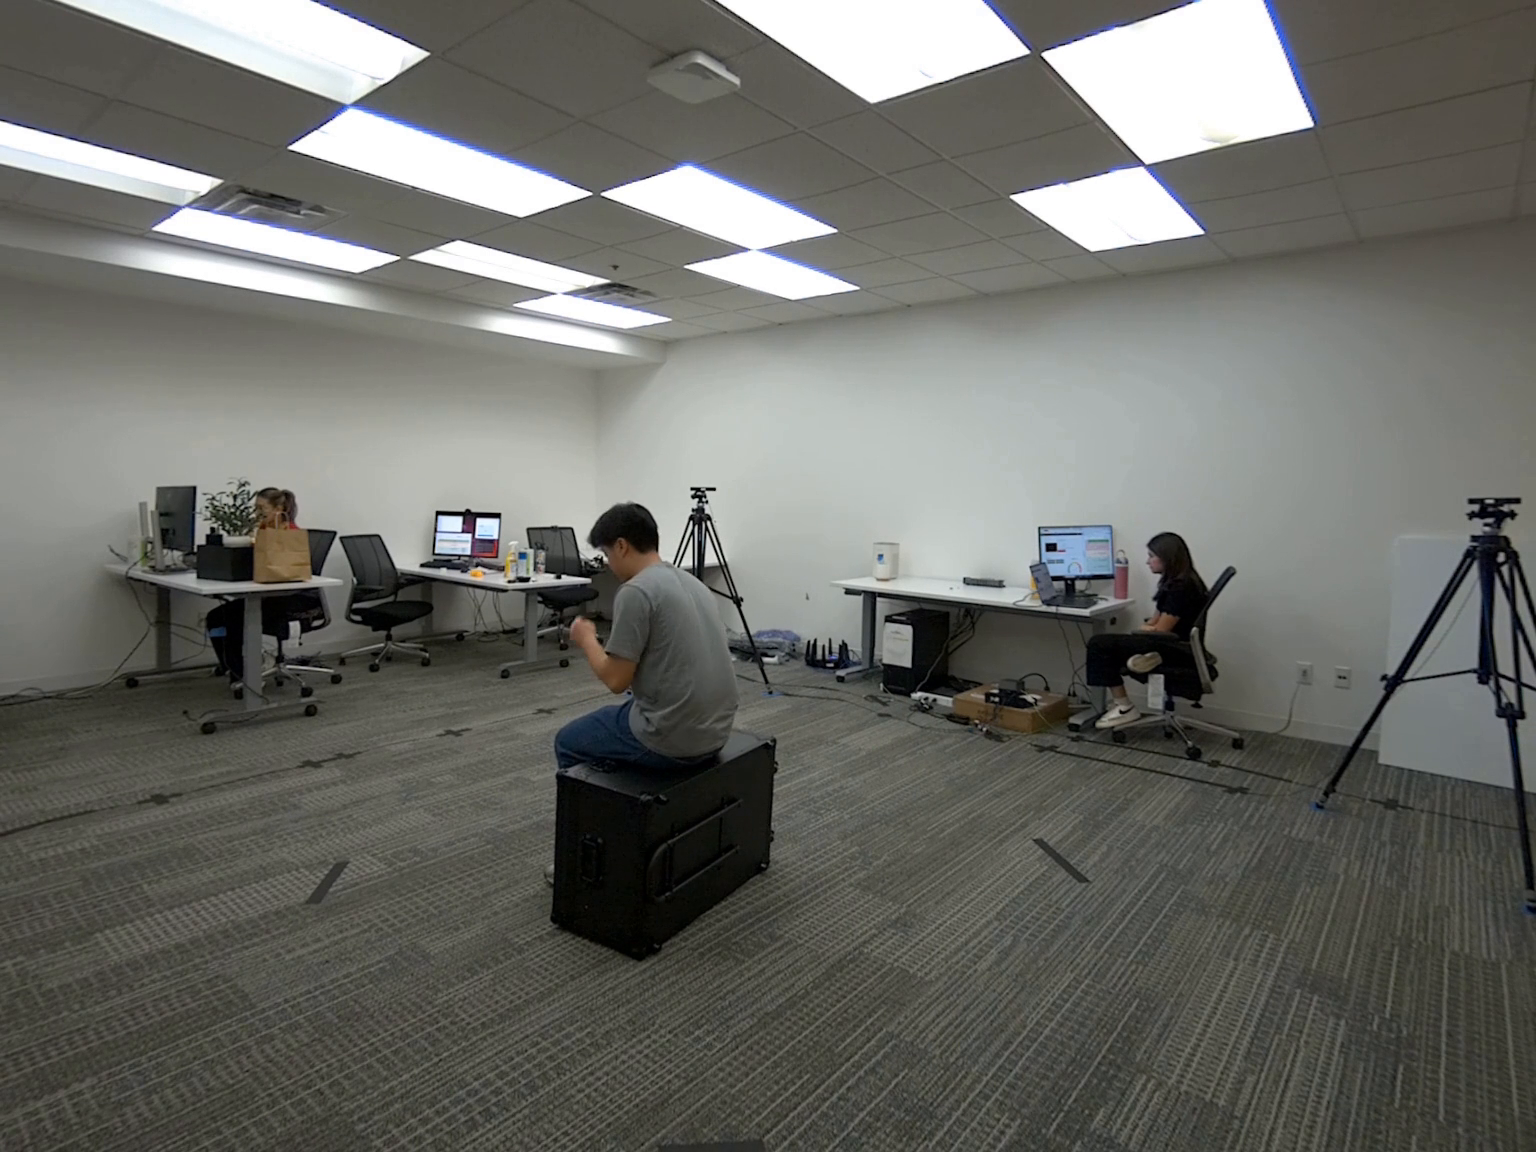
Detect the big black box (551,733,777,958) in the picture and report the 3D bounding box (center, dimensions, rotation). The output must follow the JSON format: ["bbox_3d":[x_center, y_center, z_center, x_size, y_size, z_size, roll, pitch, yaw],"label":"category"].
[{"bbox_3d":[-0.307,0.831,2.907,0.408,0.519,0.840,6,6,29],"label":"big black box"}]
